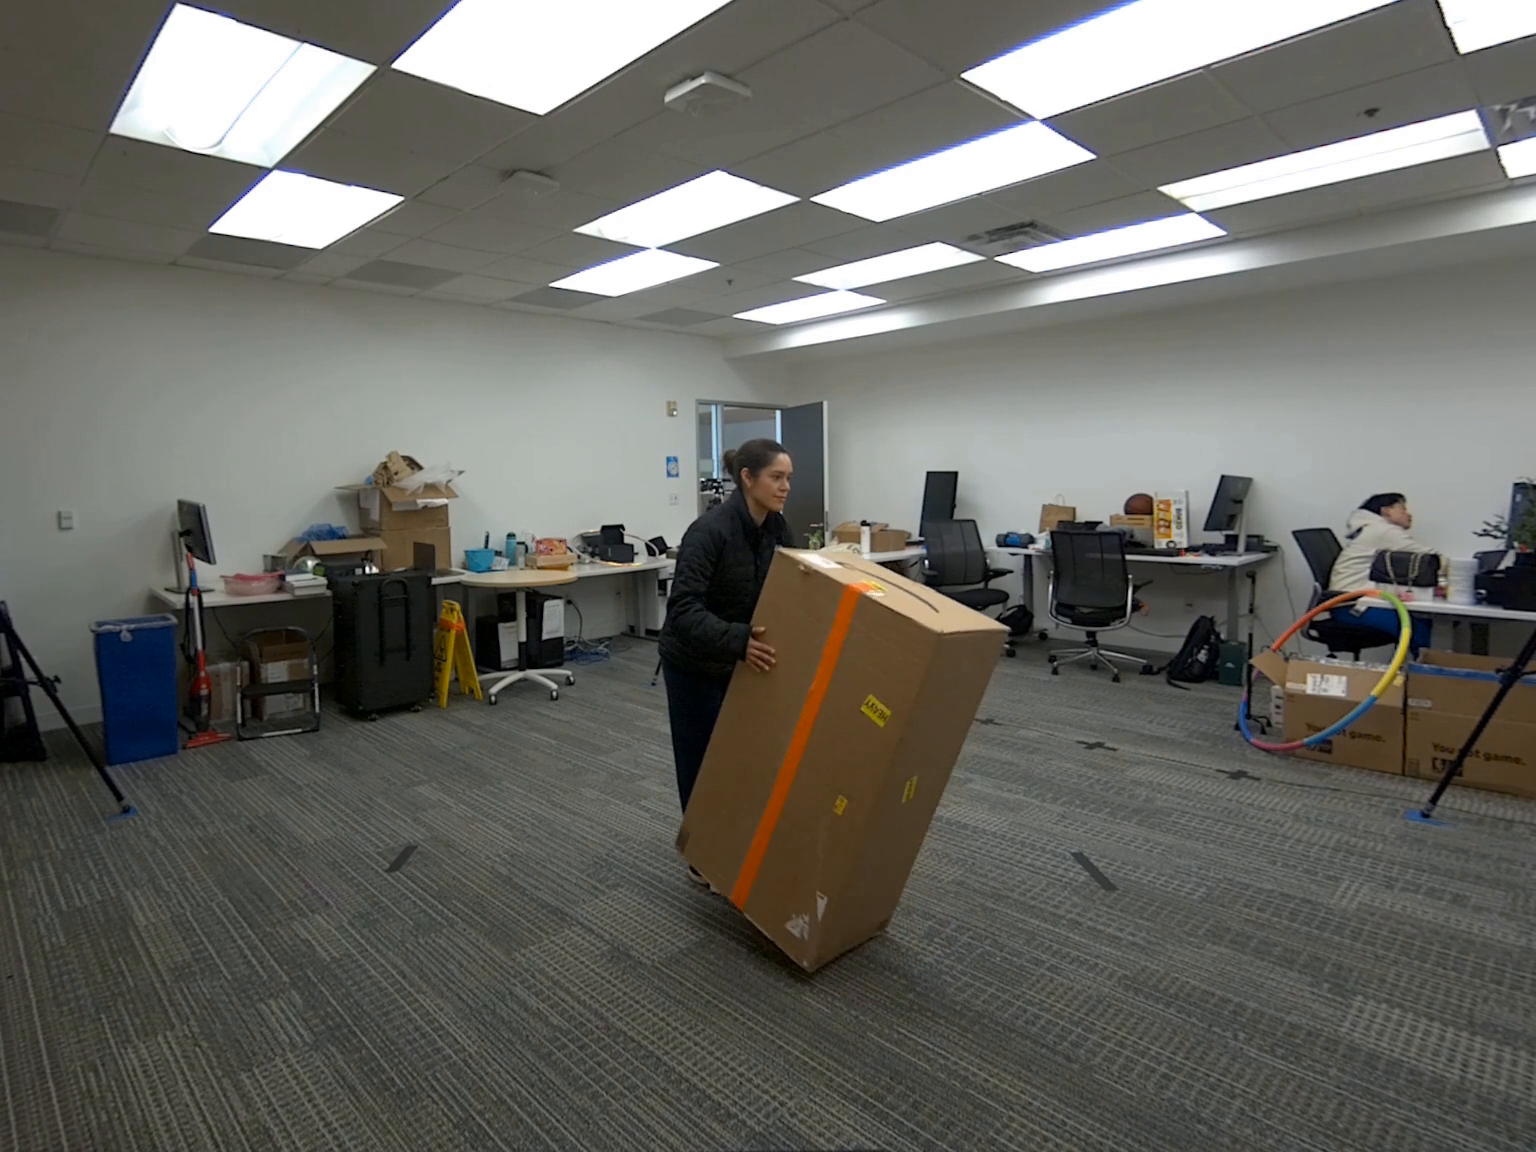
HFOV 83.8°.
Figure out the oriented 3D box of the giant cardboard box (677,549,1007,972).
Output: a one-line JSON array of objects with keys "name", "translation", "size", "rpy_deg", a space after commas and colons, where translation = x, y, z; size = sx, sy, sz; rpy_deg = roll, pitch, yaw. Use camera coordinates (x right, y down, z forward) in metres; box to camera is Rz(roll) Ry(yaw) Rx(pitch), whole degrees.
[{"name": "giant cardboard box", "translation": [0.196, 0.504, 2.564], "size": [0.599, 1.019, 0.413], "rpy_deg": [28, 14, 37]}]
